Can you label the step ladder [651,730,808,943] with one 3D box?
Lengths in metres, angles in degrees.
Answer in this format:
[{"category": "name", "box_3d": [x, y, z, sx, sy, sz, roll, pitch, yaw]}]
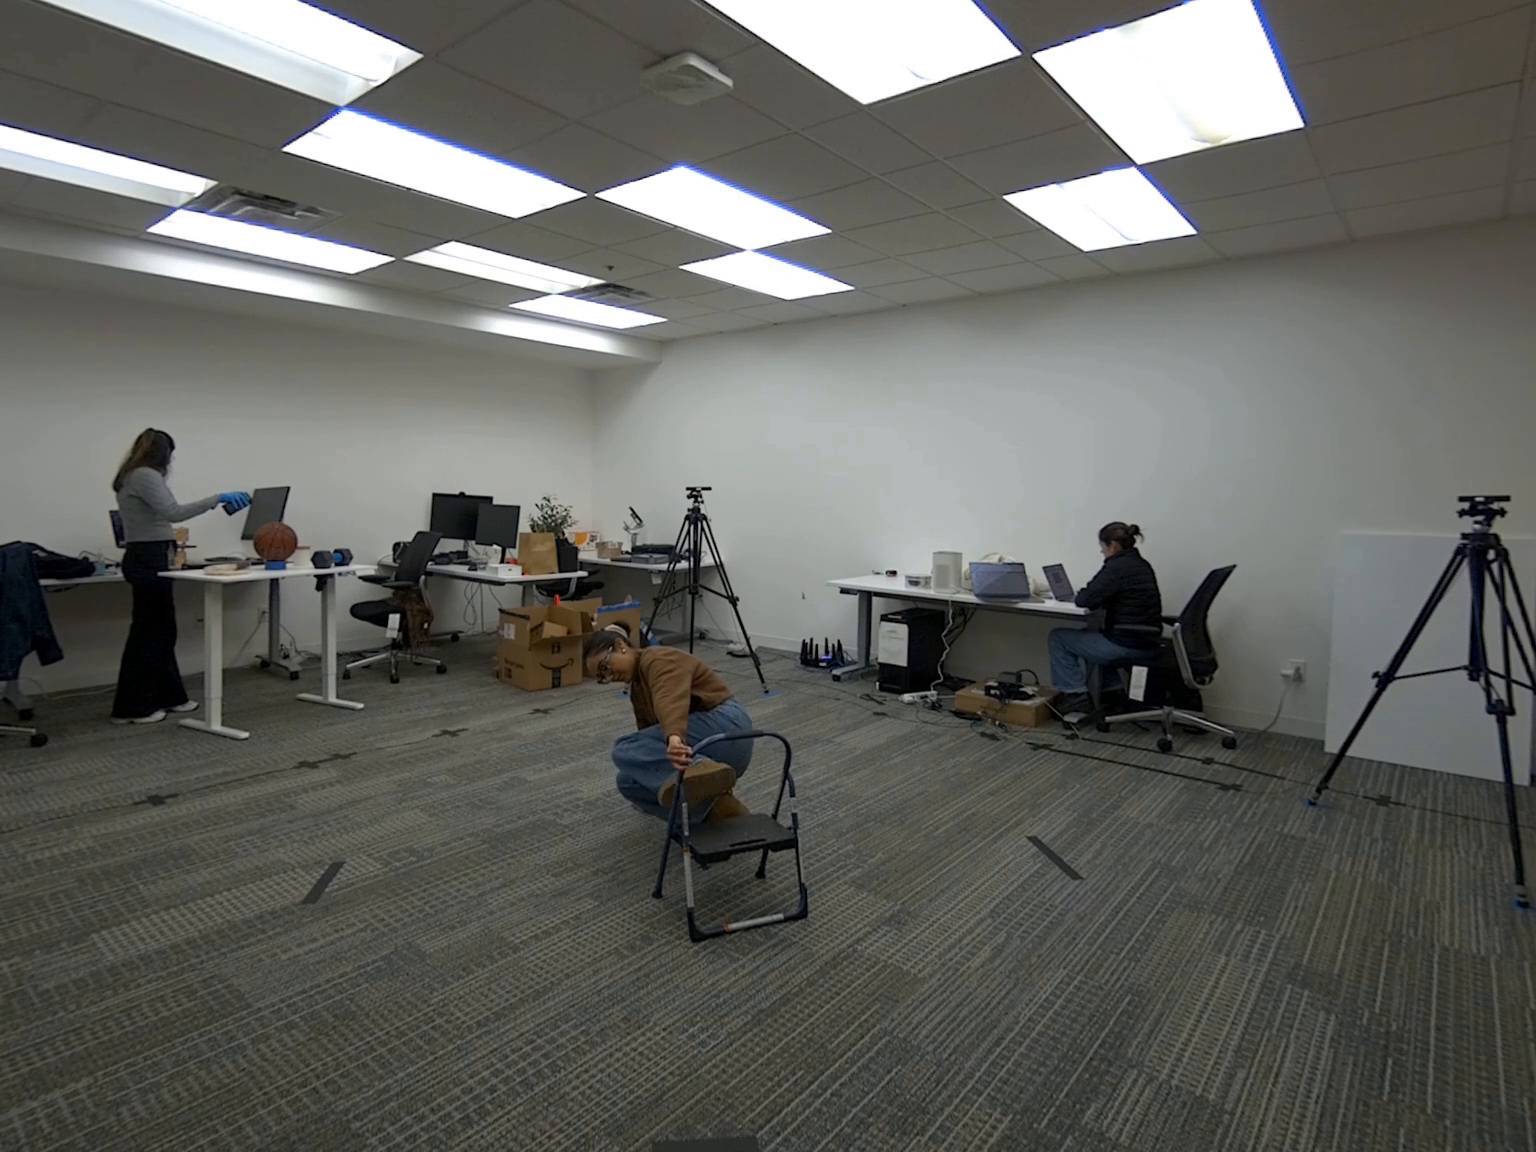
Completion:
[{"category": "step ladder", "box_3d": [-0.135, 0.795, 2.816, 0.420, 0.604, 0.359, -1, 4, -27]}]
